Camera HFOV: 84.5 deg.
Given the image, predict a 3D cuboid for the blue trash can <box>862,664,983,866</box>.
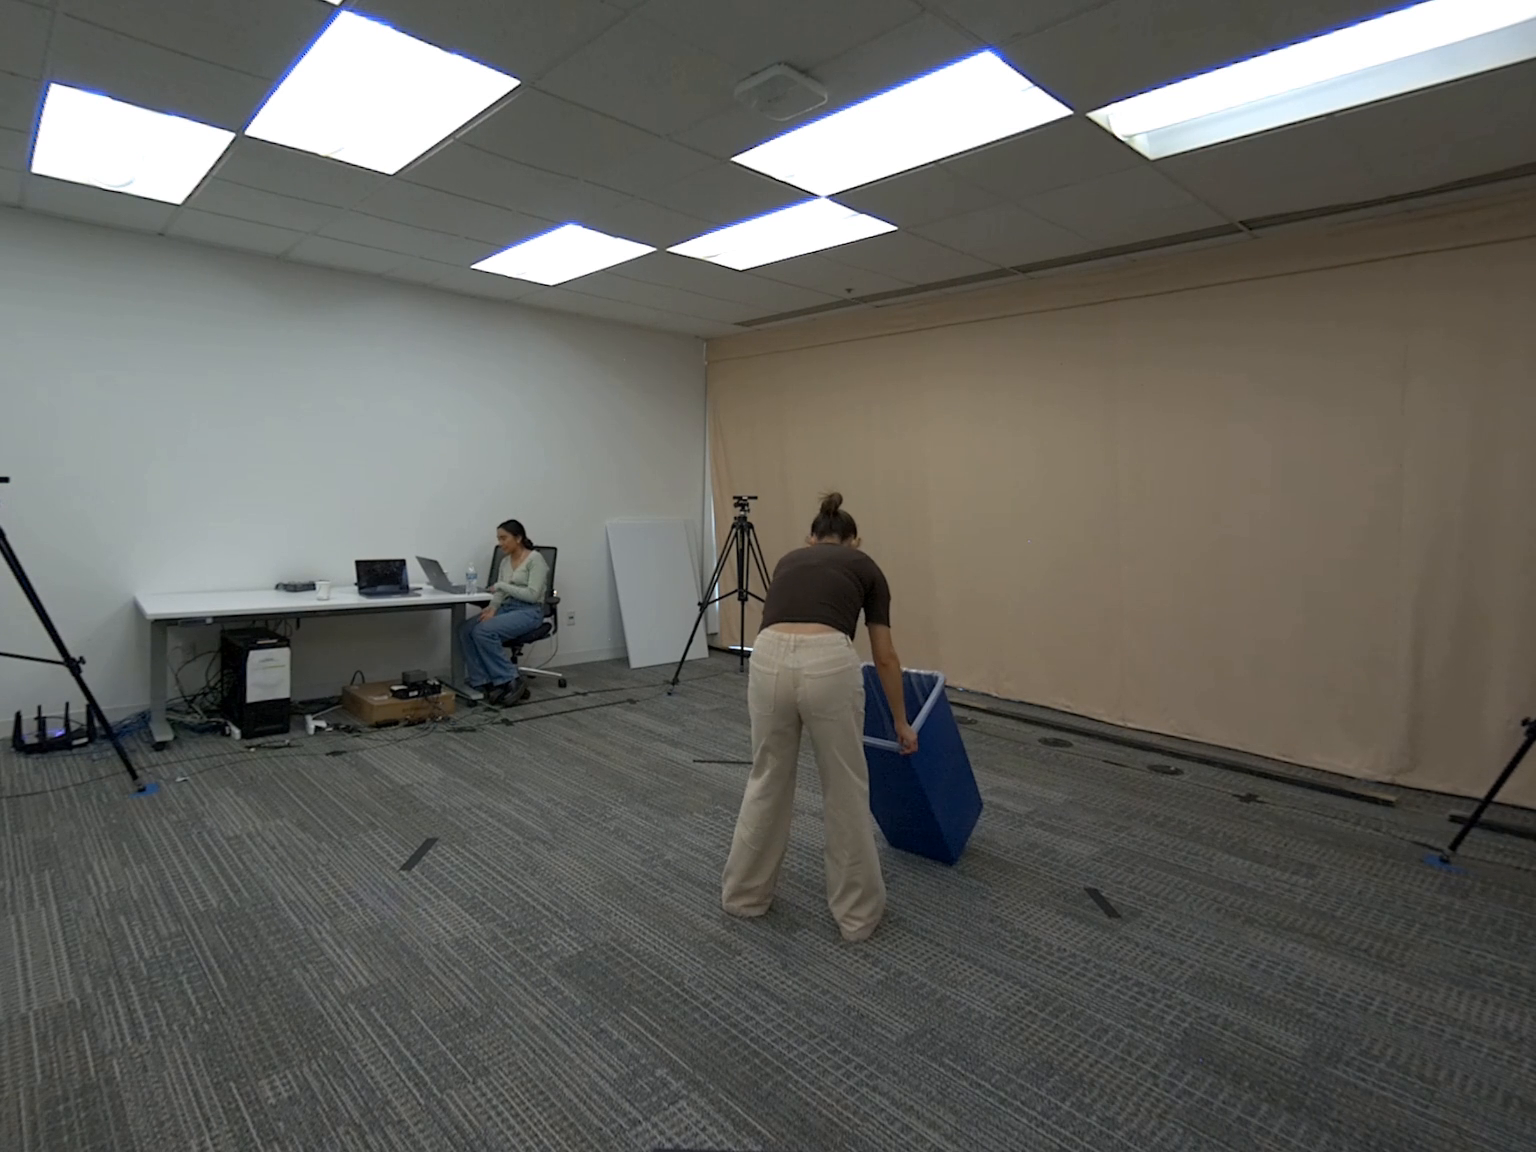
[{"bbox_3d":[0.534,0.734,3.238,0.387,0.696,0.374,2,38,41],"label":"blue trash can"}]
